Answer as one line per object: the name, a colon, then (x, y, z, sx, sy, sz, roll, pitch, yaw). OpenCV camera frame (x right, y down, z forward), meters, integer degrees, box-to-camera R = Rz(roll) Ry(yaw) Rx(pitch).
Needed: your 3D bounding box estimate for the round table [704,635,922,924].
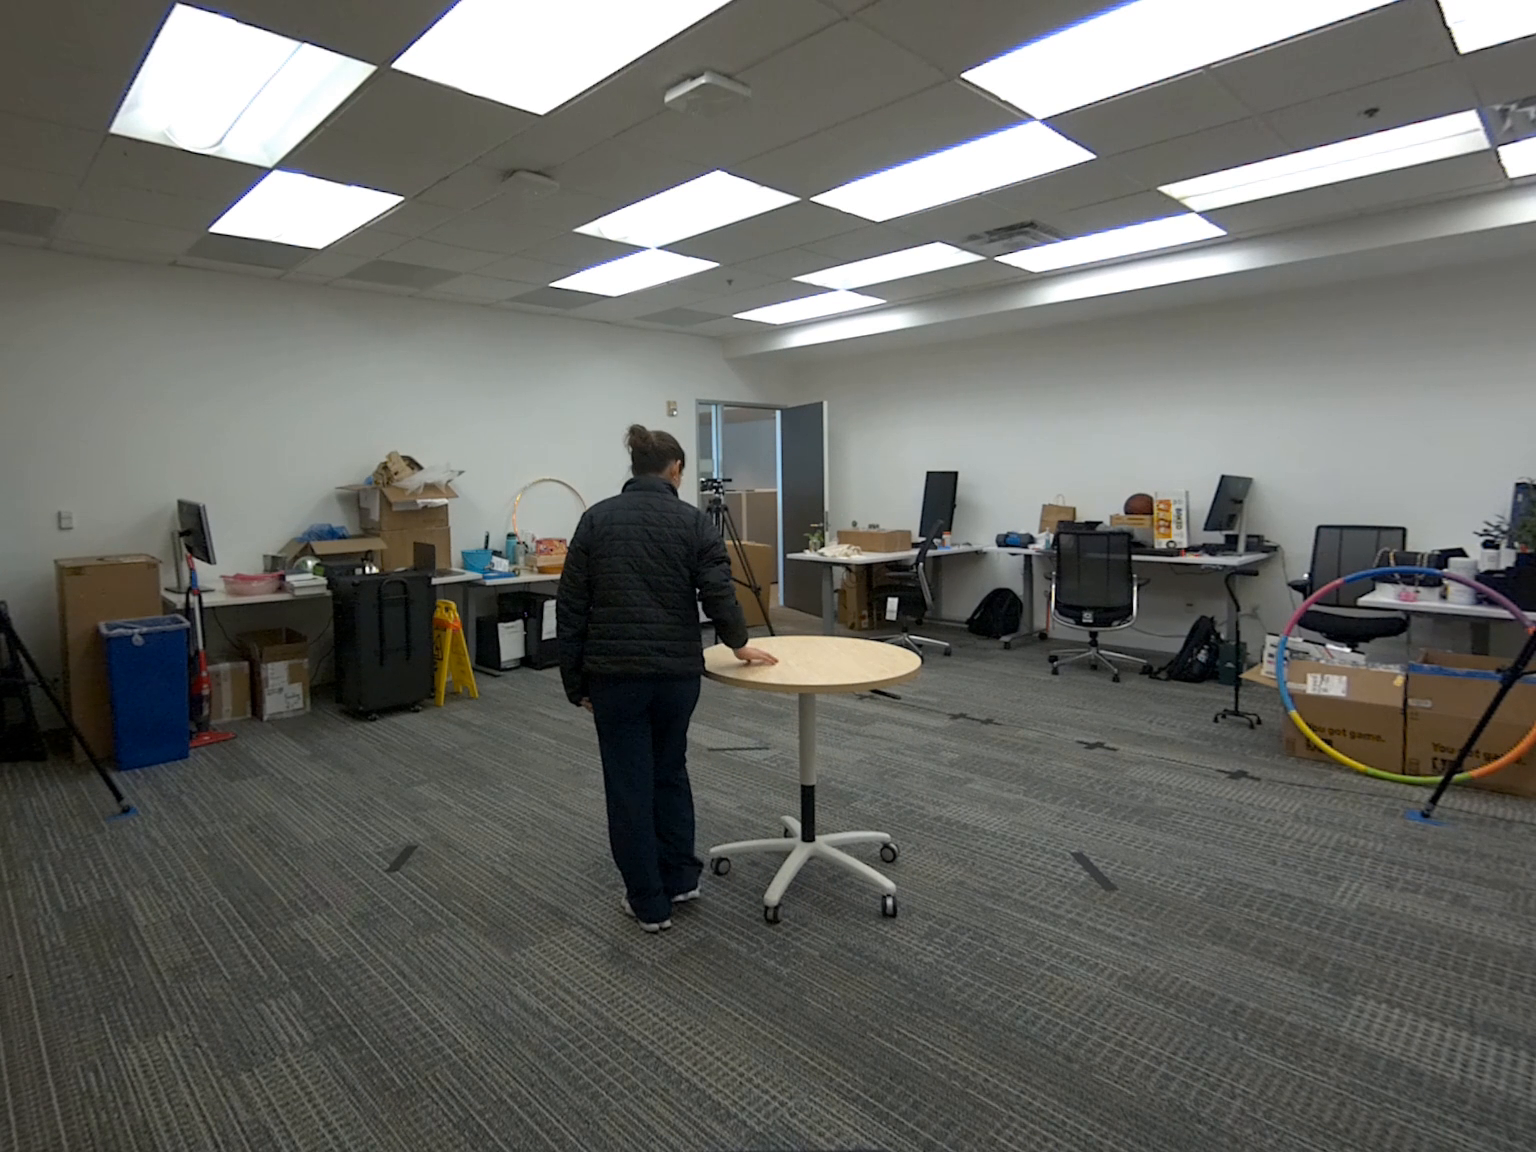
round table: (0.129, 0.665, 2.957, 0.784, 0.783, 0.789, -1, 5, -2)
